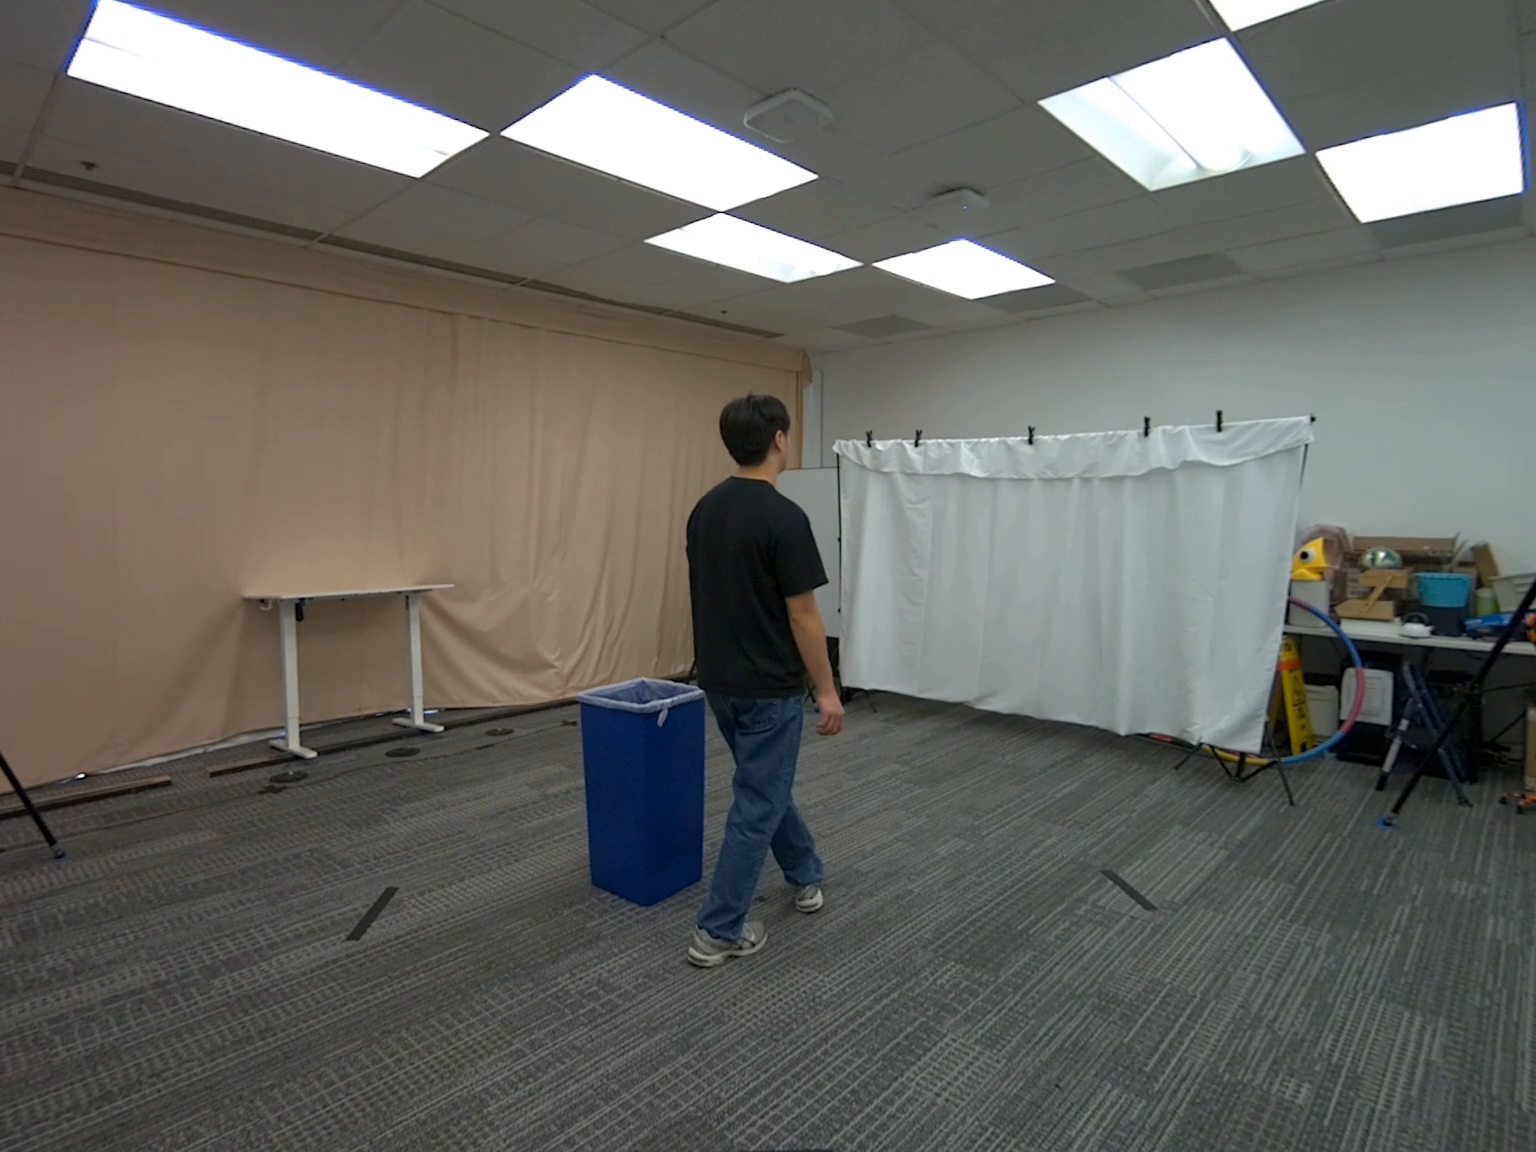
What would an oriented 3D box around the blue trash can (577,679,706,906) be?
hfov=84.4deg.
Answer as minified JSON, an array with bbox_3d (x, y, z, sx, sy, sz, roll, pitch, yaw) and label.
[{"bbox_3d":[-0.461,0.778,3.114,0.386,0.712,0.366,2,3,39],"label":"blue trash can"}]
